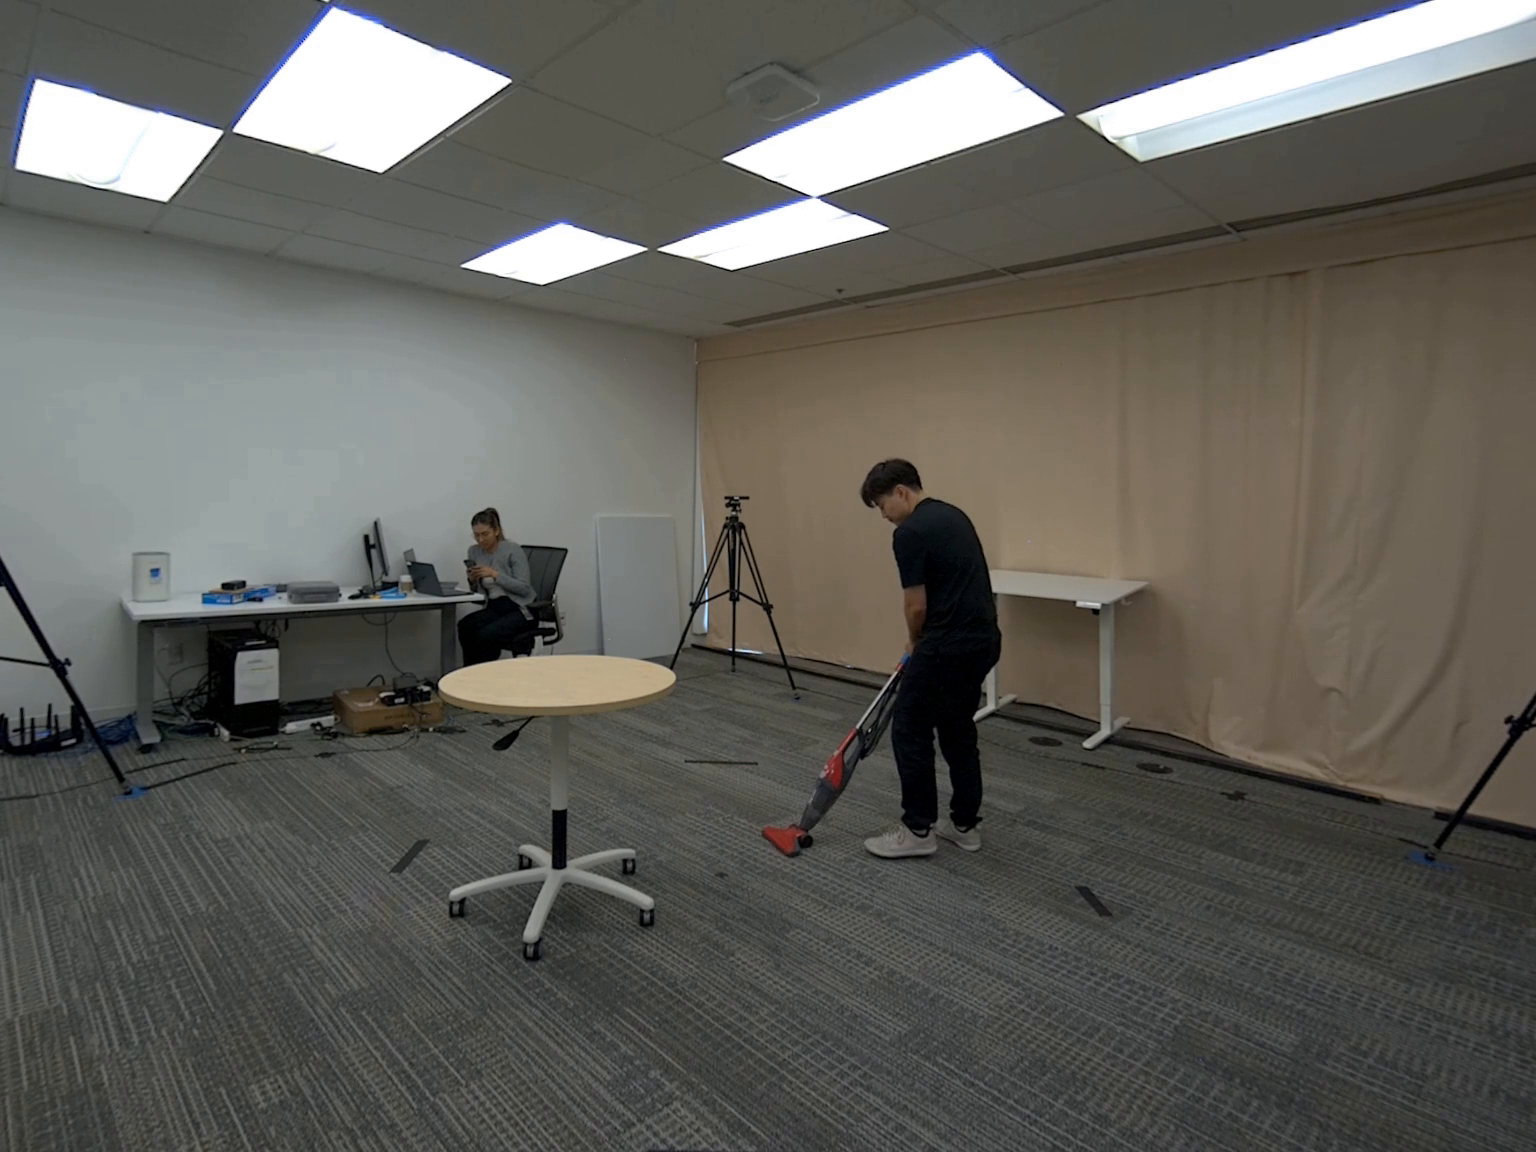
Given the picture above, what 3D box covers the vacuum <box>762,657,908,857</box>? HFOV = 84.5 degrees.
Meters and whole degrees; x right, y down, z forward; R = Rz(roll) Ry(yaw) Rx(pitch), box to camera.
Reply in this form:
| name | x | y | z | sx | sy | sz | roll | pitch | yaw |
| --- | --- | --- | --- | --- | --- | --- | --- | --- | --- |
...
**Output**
| name | x | y | z | sx | sy | sz | roll | pitch | yaw |
| --- | --- | --- | --- | --- | --- | --- | --- | --- | --- |
| vacuum | 0.374 | 0.669 | 3.510 | 0.141 | 1.050 | 0.257 | 43 | -14 | -17 |
